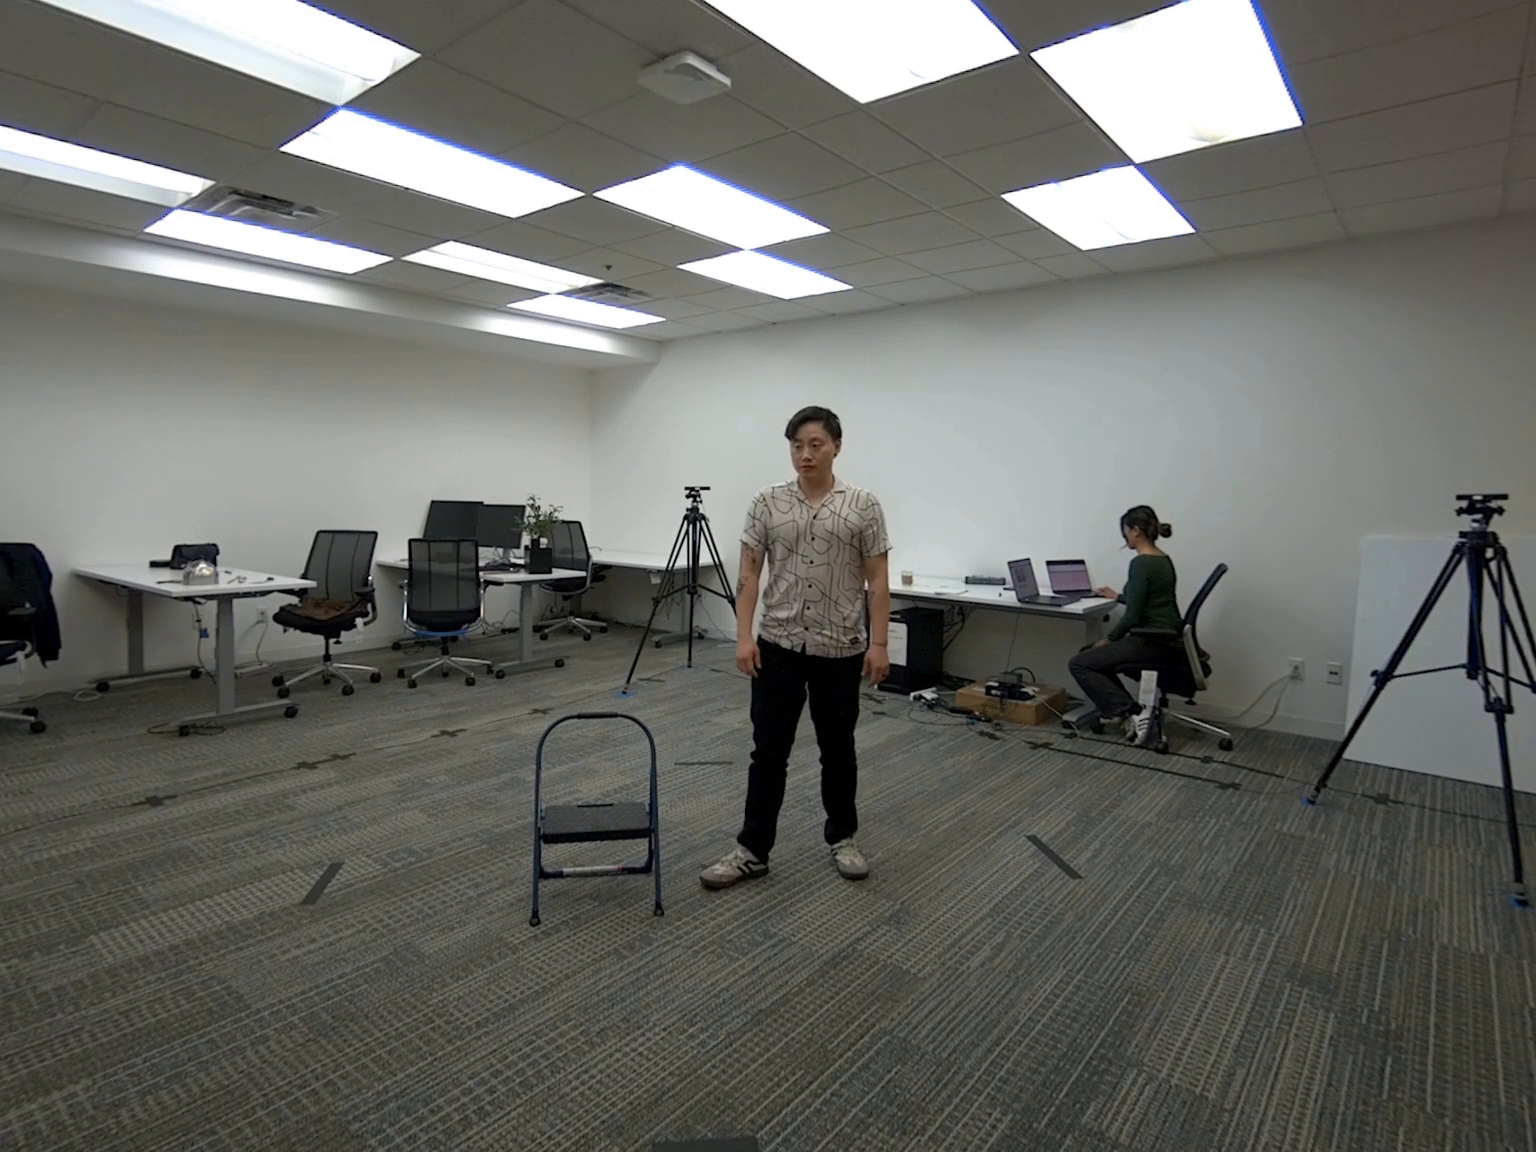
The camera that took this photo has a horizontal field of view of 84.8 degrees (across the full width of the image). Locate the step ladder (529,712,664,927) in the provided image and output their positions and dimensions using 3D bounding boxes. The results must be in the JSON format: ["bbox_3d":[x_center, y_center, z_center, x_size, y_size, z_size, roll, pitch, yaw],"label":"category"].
[{"bbox_3d":[-0.588,0.784,2.877,0.425,0.604,0.355,0,4,-12],"label":"step ladder"}]
